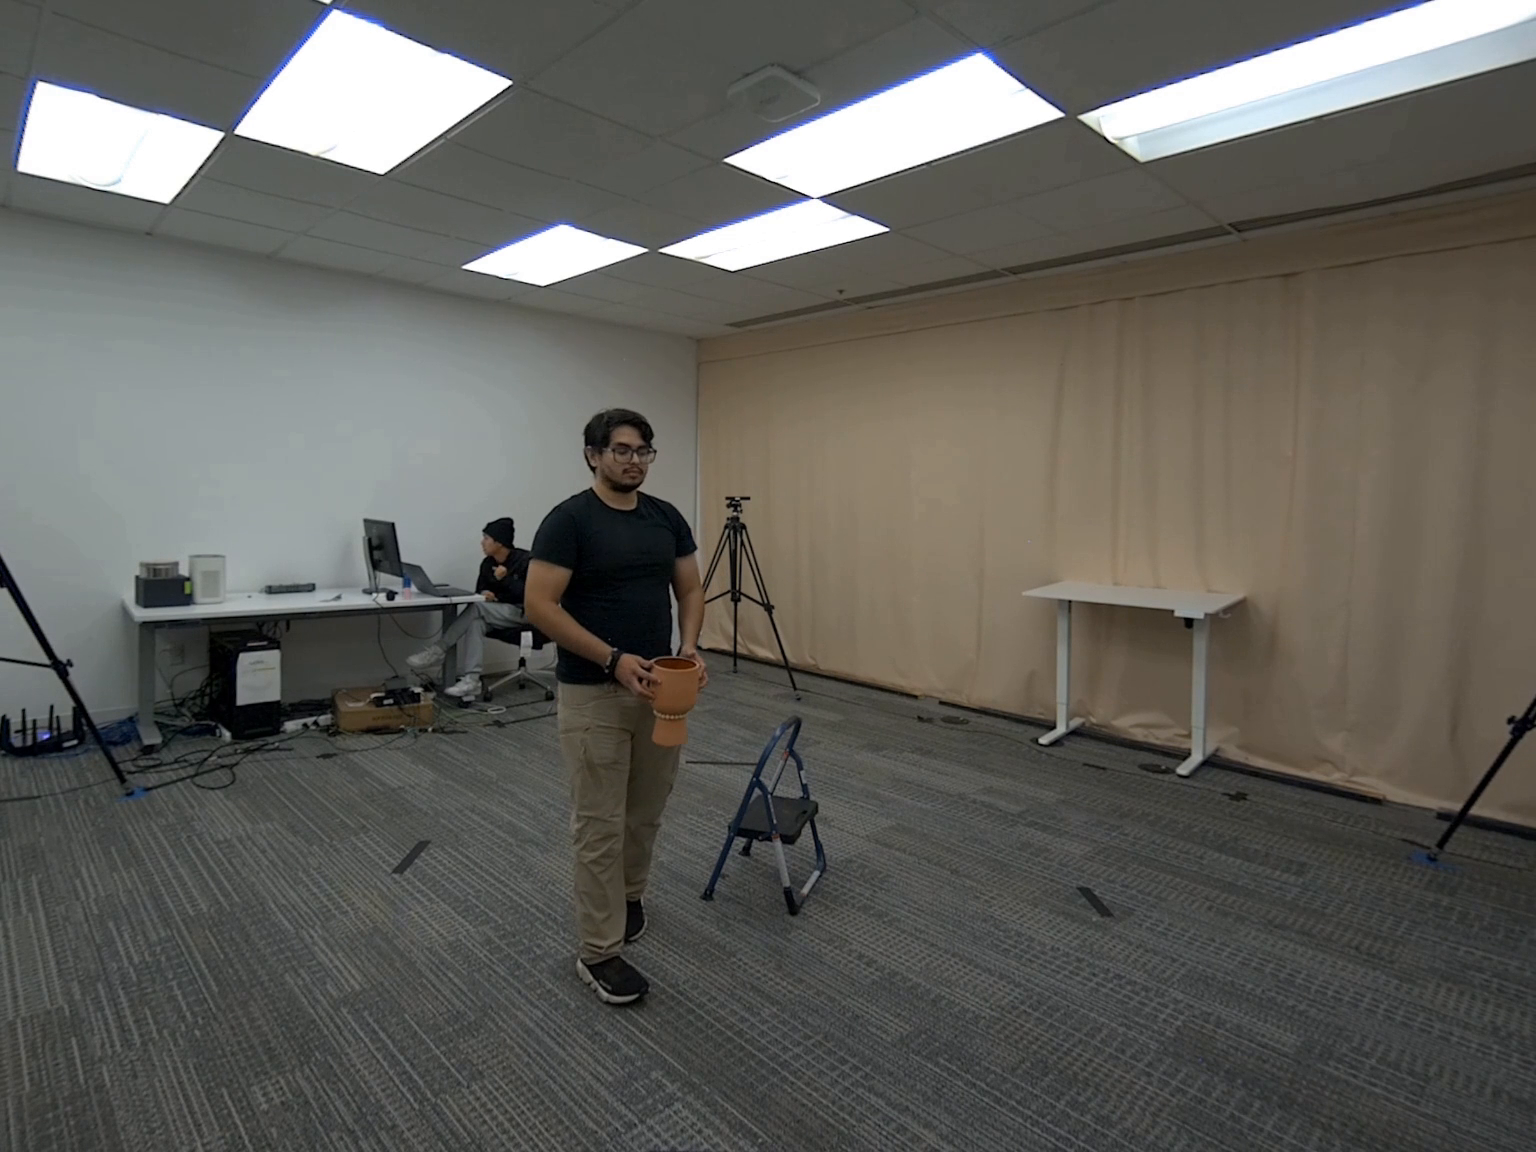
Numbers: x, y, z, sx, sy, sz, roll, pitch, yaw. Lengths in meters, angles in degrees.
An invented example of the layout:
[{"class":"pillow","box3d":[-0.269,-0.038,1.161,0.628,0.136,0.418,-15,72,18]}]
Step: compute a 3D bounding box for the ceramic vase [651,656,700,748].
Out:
[{"class":"ceramic vase","box3d":[-0.288,0.350,2.299,0.158,0.218,0.136,4,9,-6]}]
